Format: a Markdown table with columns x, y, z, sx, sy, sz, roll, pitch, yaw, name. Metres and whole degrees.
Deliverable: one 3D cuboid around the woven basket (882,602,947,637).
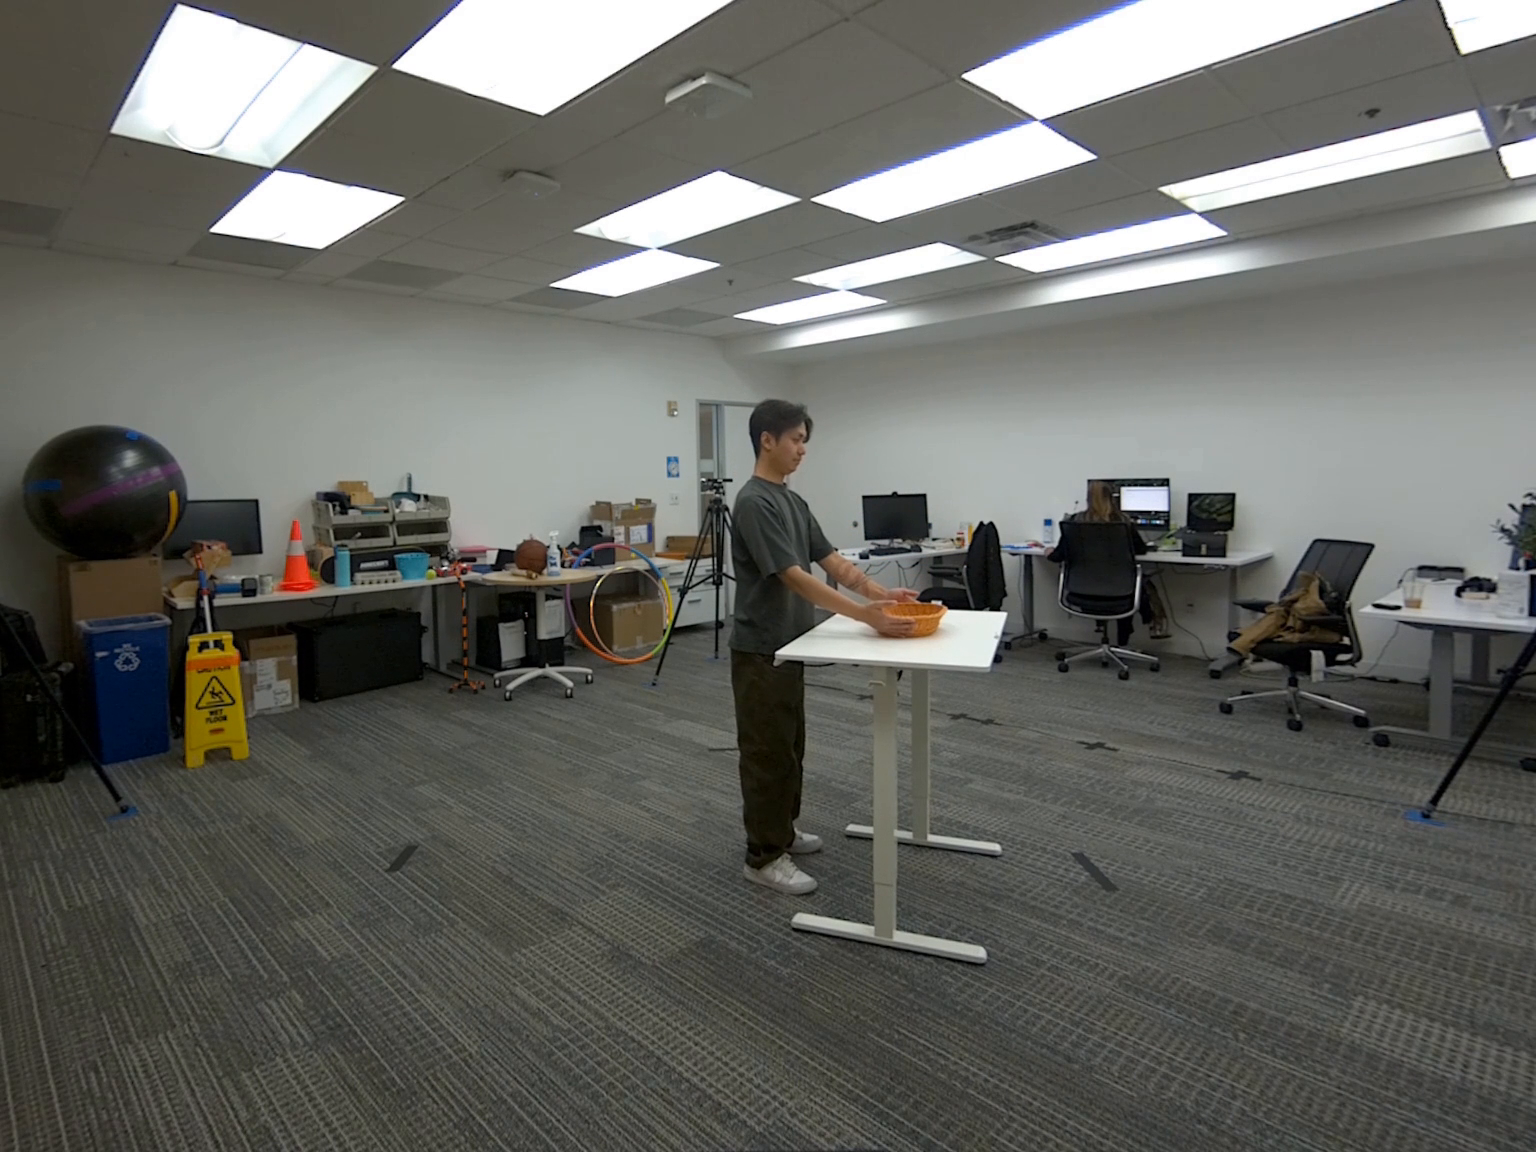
| x | y | z | sx | sy | sz | roll | pitch | yaw | name |
| --- | --- | --- | --- | --- | --- | --- | --- | --- | --- |
| 0.459 | 0.145 | 2.848 | 0.258 | 0.073 | 0.344 | 2 | 7 | 23 | woven basket |
